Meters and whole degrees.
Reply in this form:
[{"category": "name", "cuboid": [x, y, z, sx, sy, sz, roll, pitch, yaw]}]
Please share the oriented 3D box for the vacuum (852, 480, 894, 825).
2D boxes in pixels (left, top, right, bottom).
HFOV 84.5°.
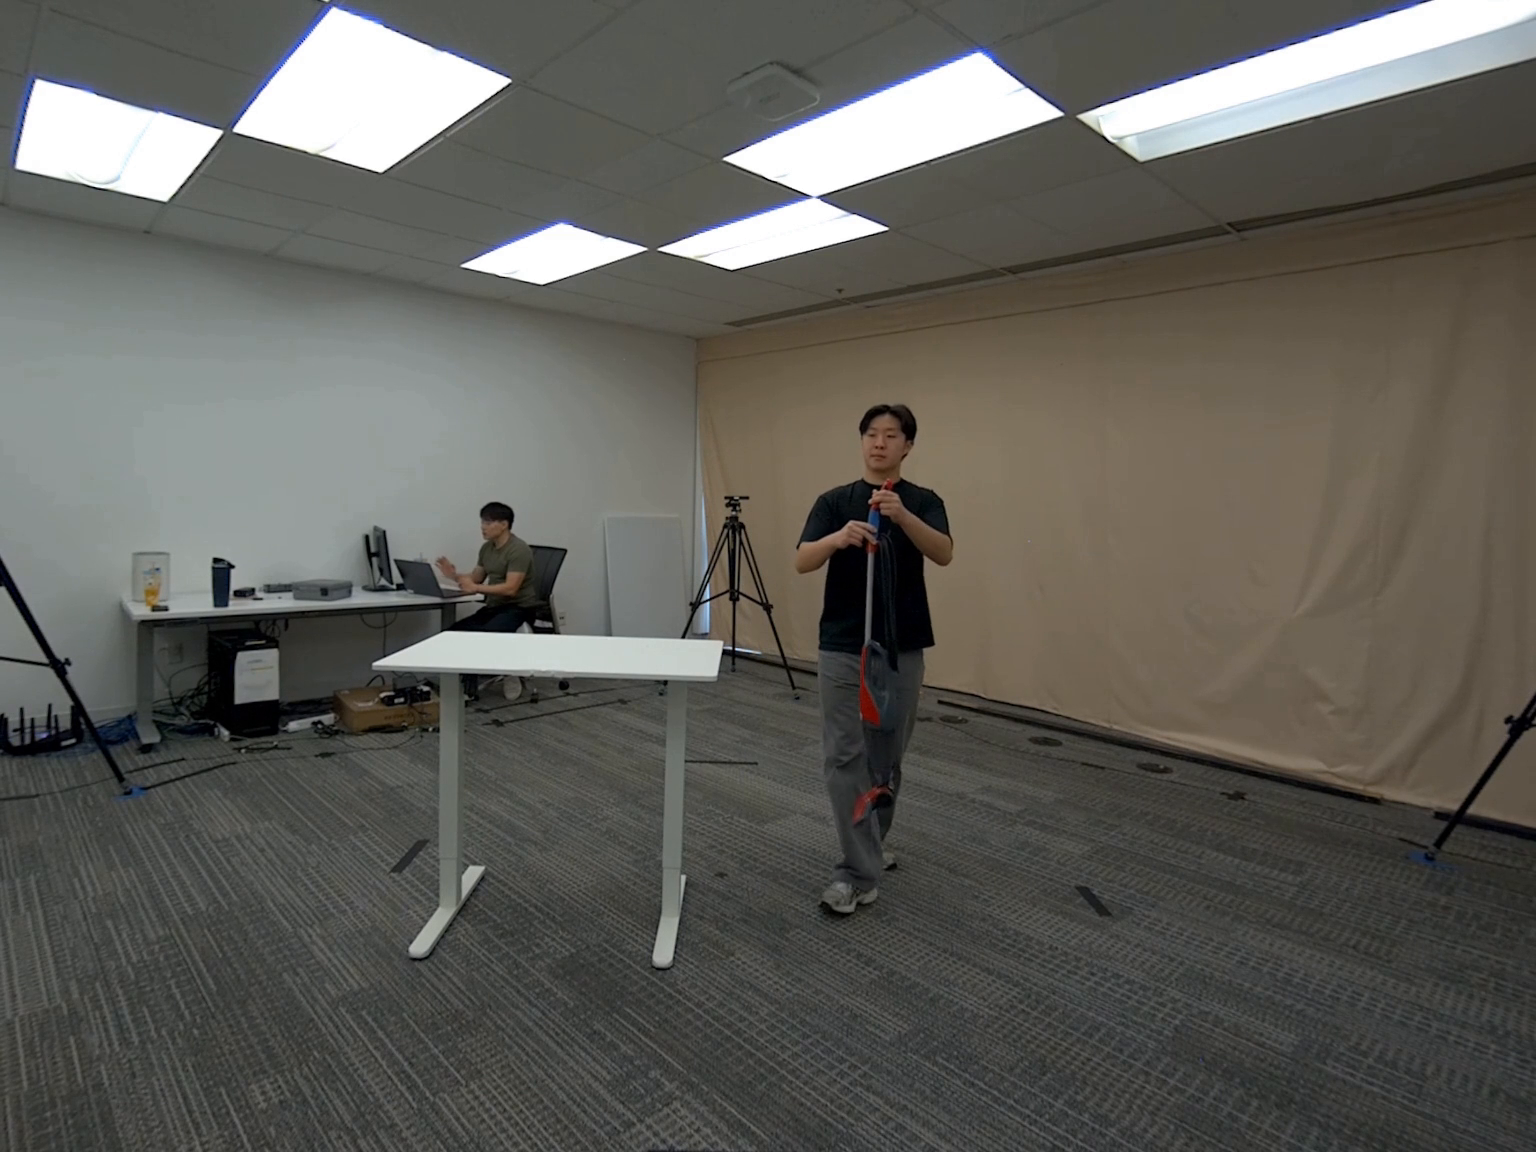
[{"category": "vacuum", "cuboid": [0.366, 0.222, 2.726, 0.144, 1.048, 0.253, 5, 2, -3]}]
